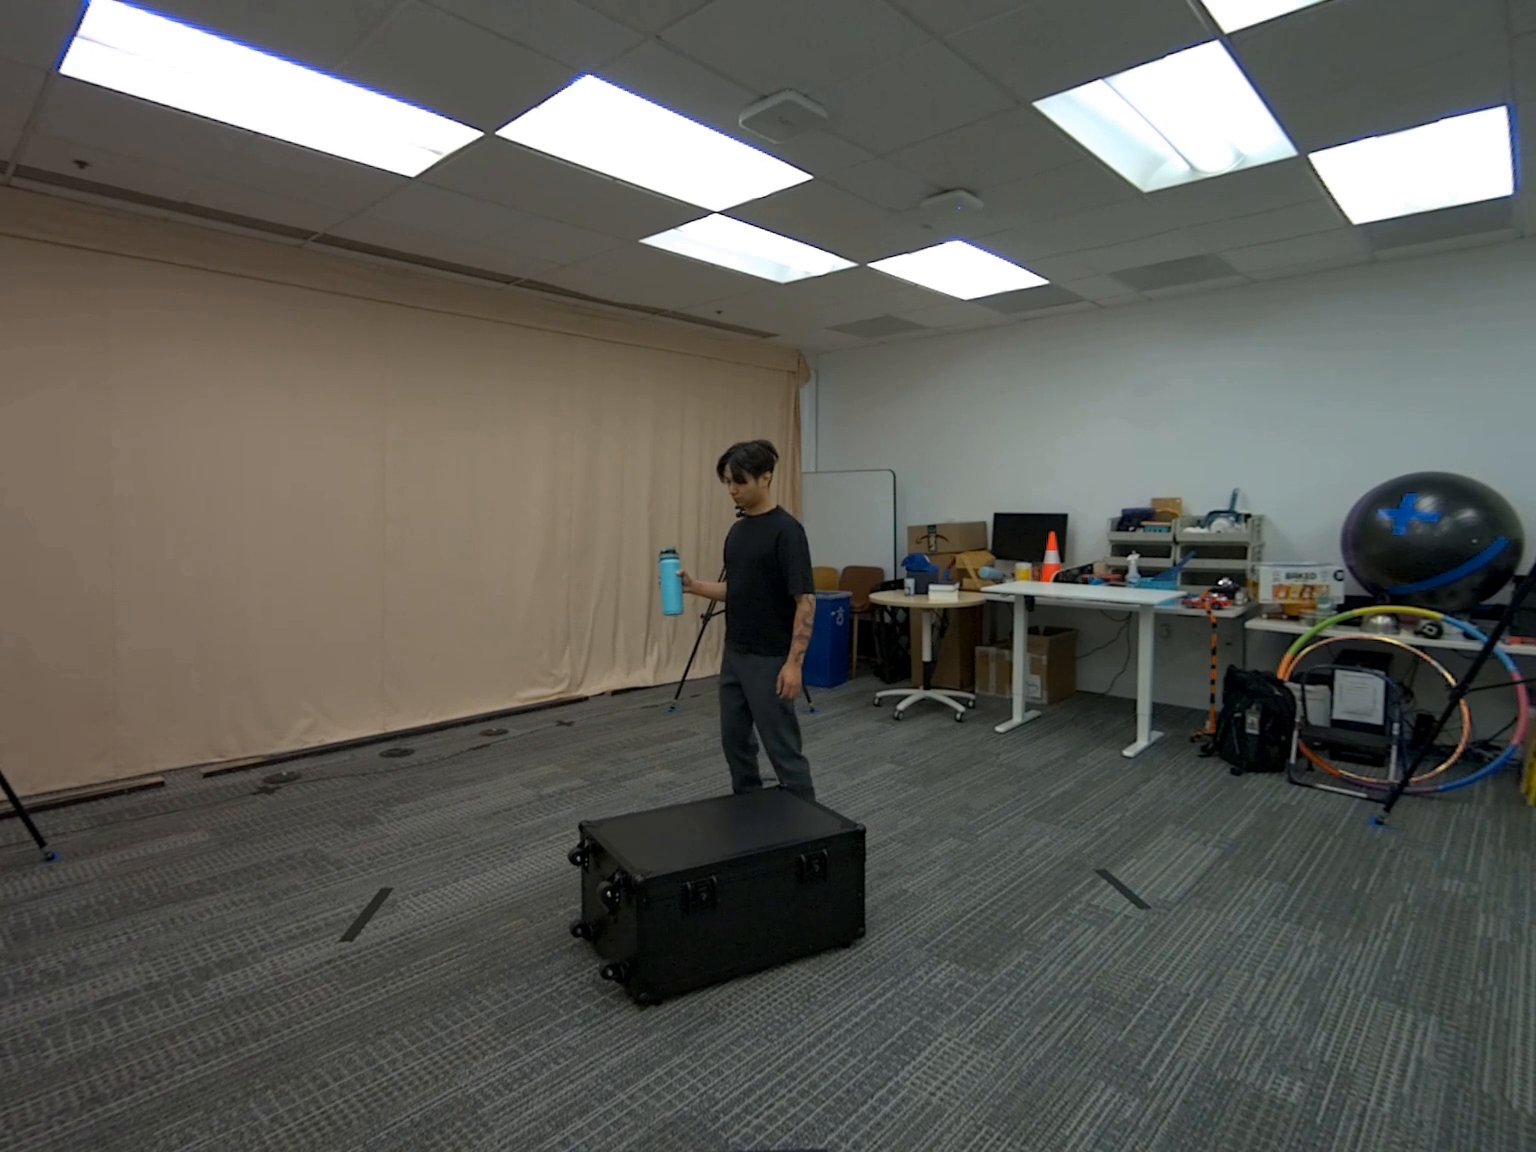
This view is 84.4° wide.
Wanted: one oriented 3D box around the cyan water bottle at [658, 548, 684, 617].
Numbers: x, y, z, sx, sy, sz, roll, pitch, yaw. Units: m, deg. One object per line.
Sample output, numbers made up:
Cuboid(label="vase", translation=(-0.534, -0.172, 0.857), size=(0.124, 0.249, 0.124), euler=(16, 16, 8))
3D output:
Cuboid(label="cyan water bottle", translation=(-0.401, 0.017, 3.519), size=(0.092, 0.285, 0.092), euler=(-6, -6, -2))
